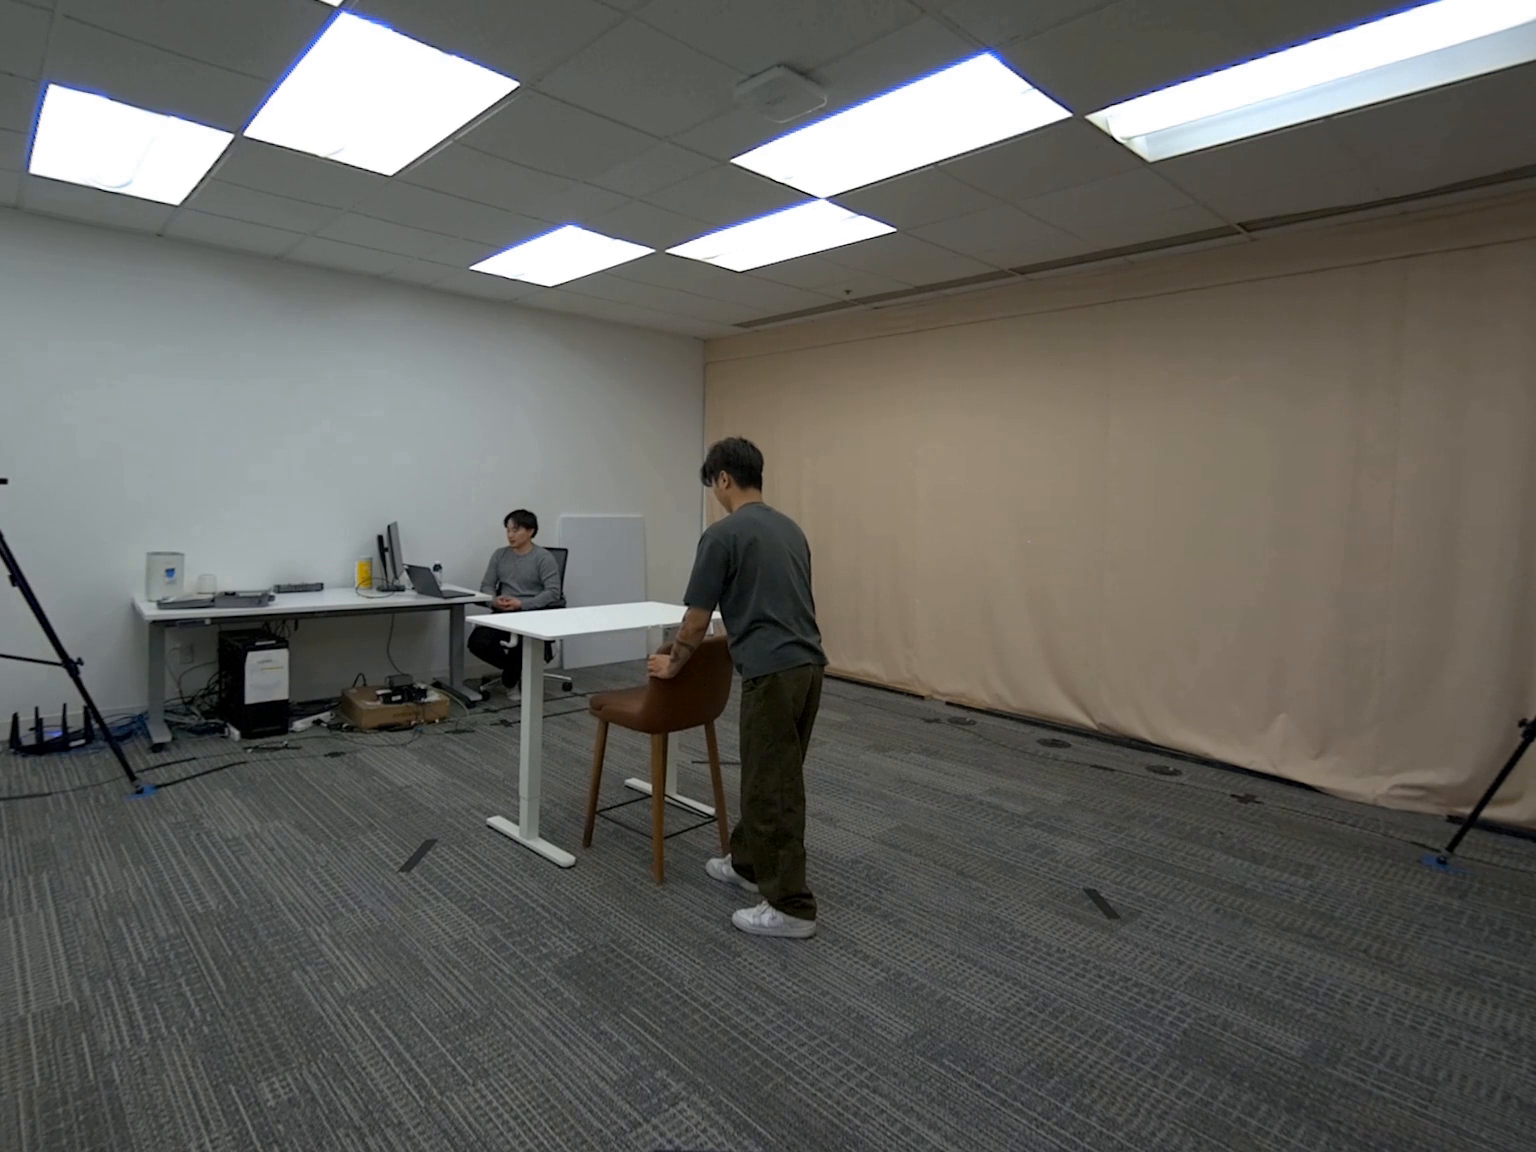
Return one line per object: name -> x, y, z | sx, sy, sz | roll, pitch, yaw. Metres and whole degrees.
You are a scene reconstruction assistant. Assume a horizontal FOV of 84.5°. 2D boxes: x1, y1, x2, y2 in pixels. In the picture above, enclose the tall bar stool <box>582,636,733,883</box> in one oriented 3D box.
tall bar stool -> -0.417, 0.642, 3.283 | 0.480, 0.886, 0.446 | 9, 7, 43
